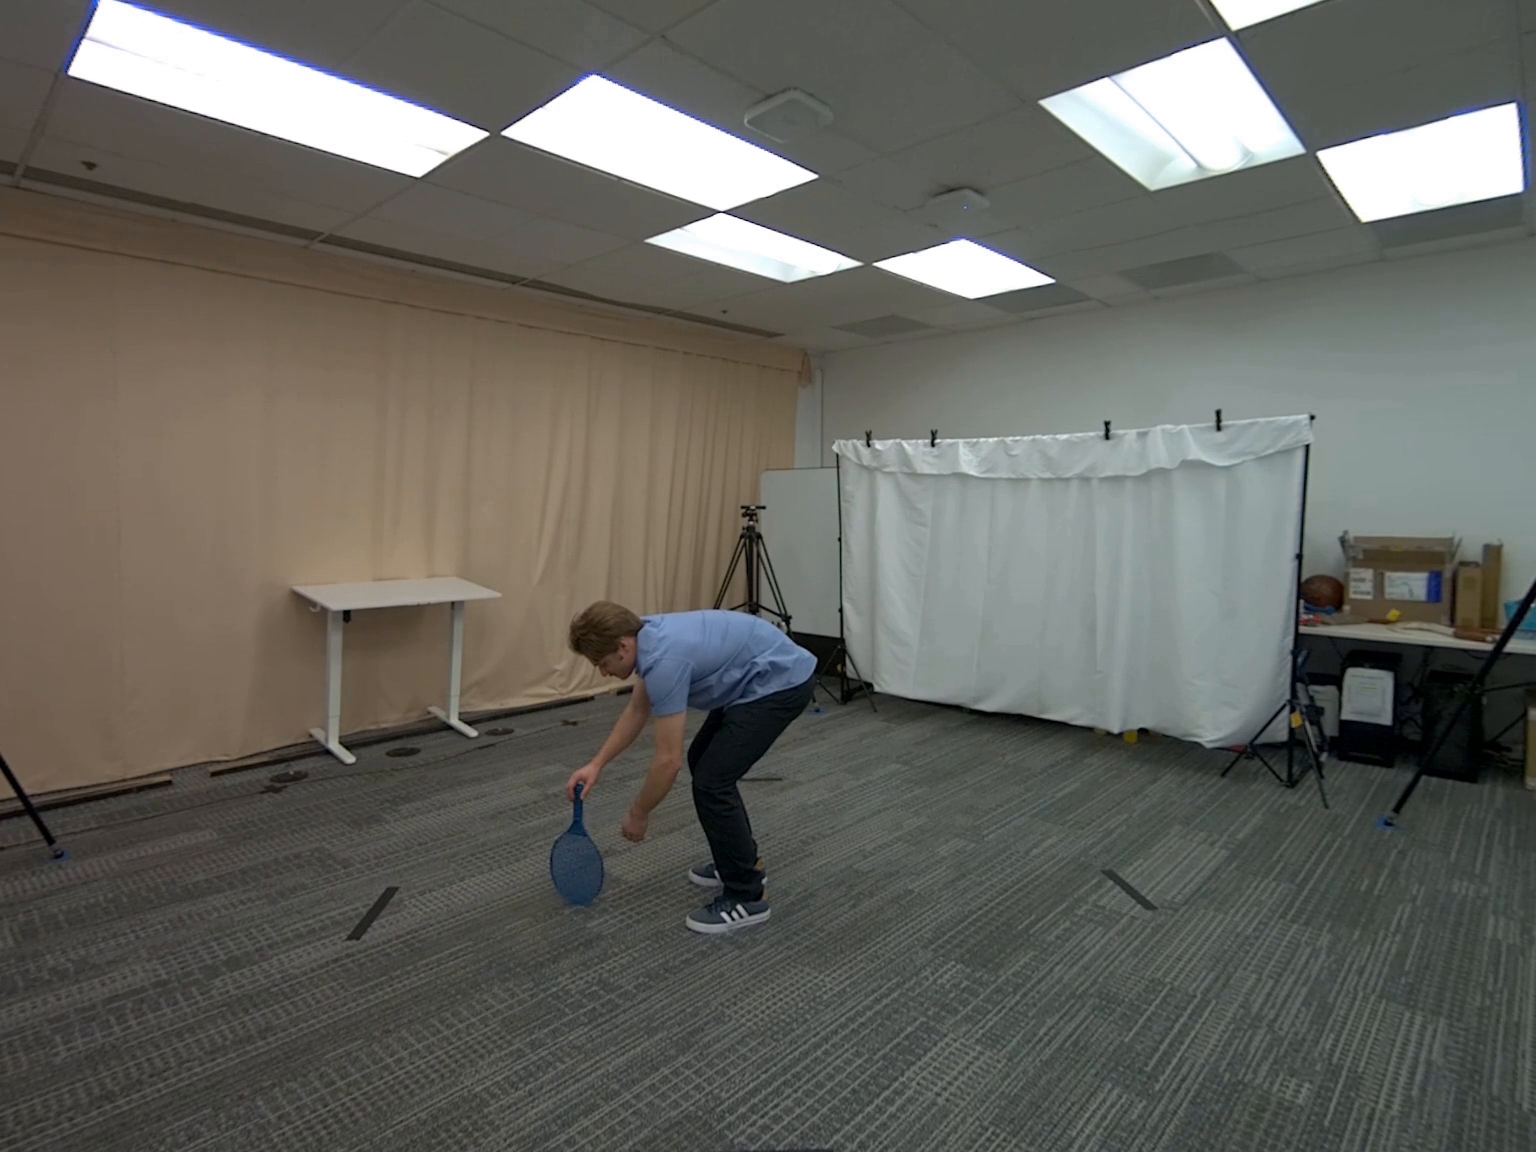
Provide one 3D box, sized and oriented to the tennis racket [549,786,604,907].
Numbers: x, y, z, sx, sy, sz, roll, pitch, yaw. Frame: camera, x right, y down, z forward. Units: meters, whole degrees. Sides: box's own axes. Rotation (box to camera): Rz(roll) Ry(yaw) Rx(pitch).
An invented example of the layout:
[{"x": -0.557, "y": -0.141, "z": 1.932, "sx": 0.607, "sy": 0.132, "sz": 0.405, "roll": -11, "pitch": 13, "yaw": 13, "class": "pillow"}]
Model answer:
[{"x": -0.657, "y": 0.940, "z": 2.930, "sx": 0.219, "sy": 0.431, "sz": 0.031, "roll": 9, "pitch": 7, "yaw": 21, "class": "tennis racket"}]
